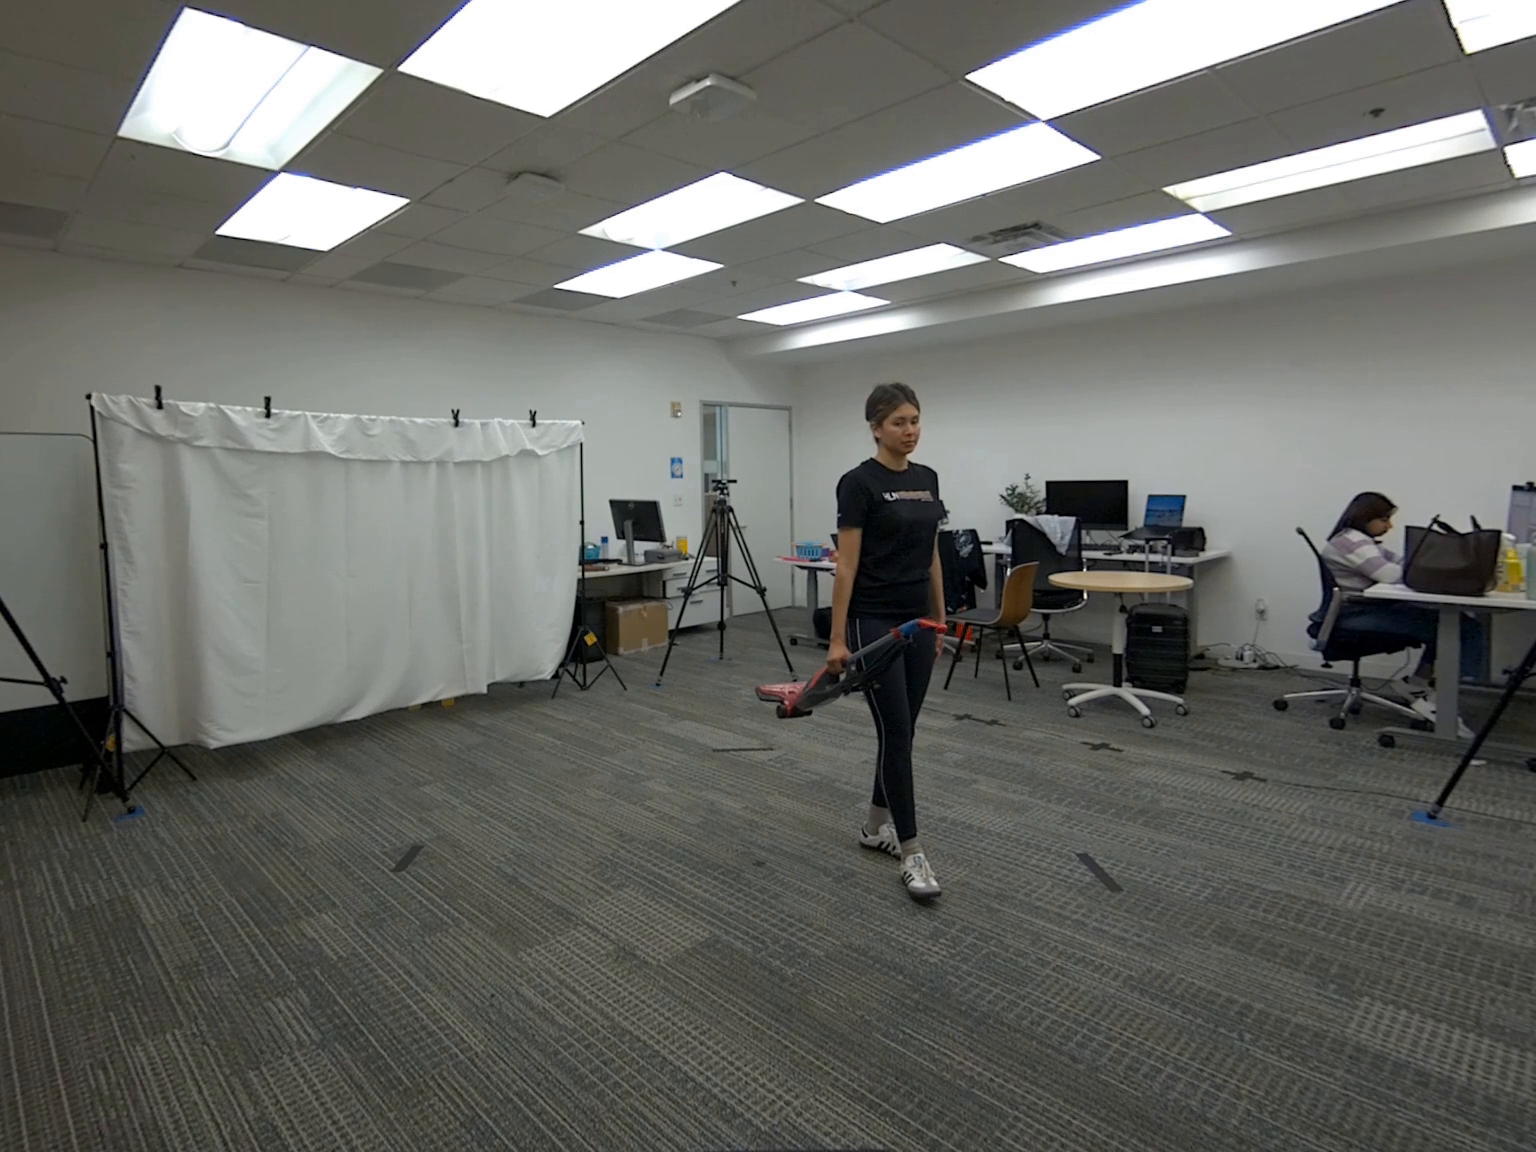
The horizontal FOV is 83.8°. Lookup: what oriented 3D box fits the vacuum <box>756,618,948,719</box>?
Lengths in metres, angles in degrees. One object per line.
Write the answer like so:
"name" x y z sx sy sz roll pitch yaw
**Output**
"vacuum" 0.287 0.318 2.848 0.247 0.147 1.049 5 -22 -21
